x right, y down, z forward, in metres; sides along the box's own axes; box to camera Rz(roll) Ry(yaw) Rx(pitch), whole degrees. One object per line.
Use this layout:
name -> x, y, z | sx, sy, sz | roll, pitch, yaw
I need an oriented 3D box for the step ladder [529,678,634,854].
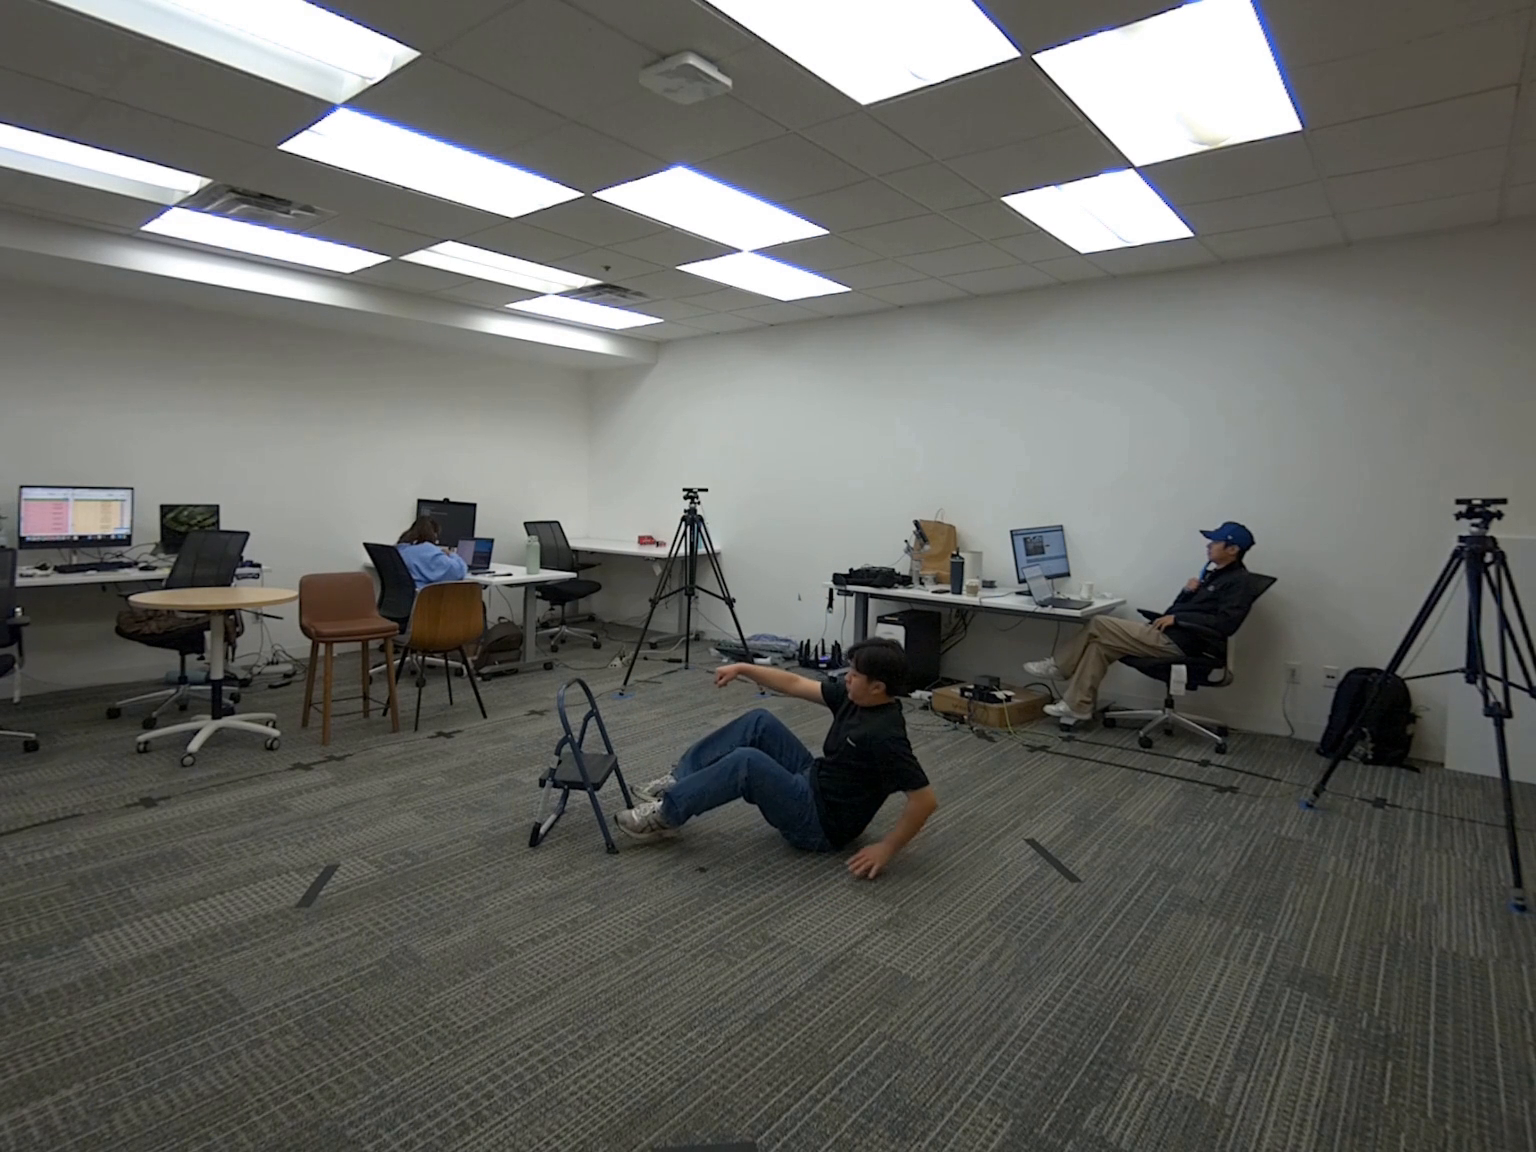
step ladder -> -0.749, 0.727, 3.442 | 0.351, 0.605, 0.430 | 2, 3, 3
